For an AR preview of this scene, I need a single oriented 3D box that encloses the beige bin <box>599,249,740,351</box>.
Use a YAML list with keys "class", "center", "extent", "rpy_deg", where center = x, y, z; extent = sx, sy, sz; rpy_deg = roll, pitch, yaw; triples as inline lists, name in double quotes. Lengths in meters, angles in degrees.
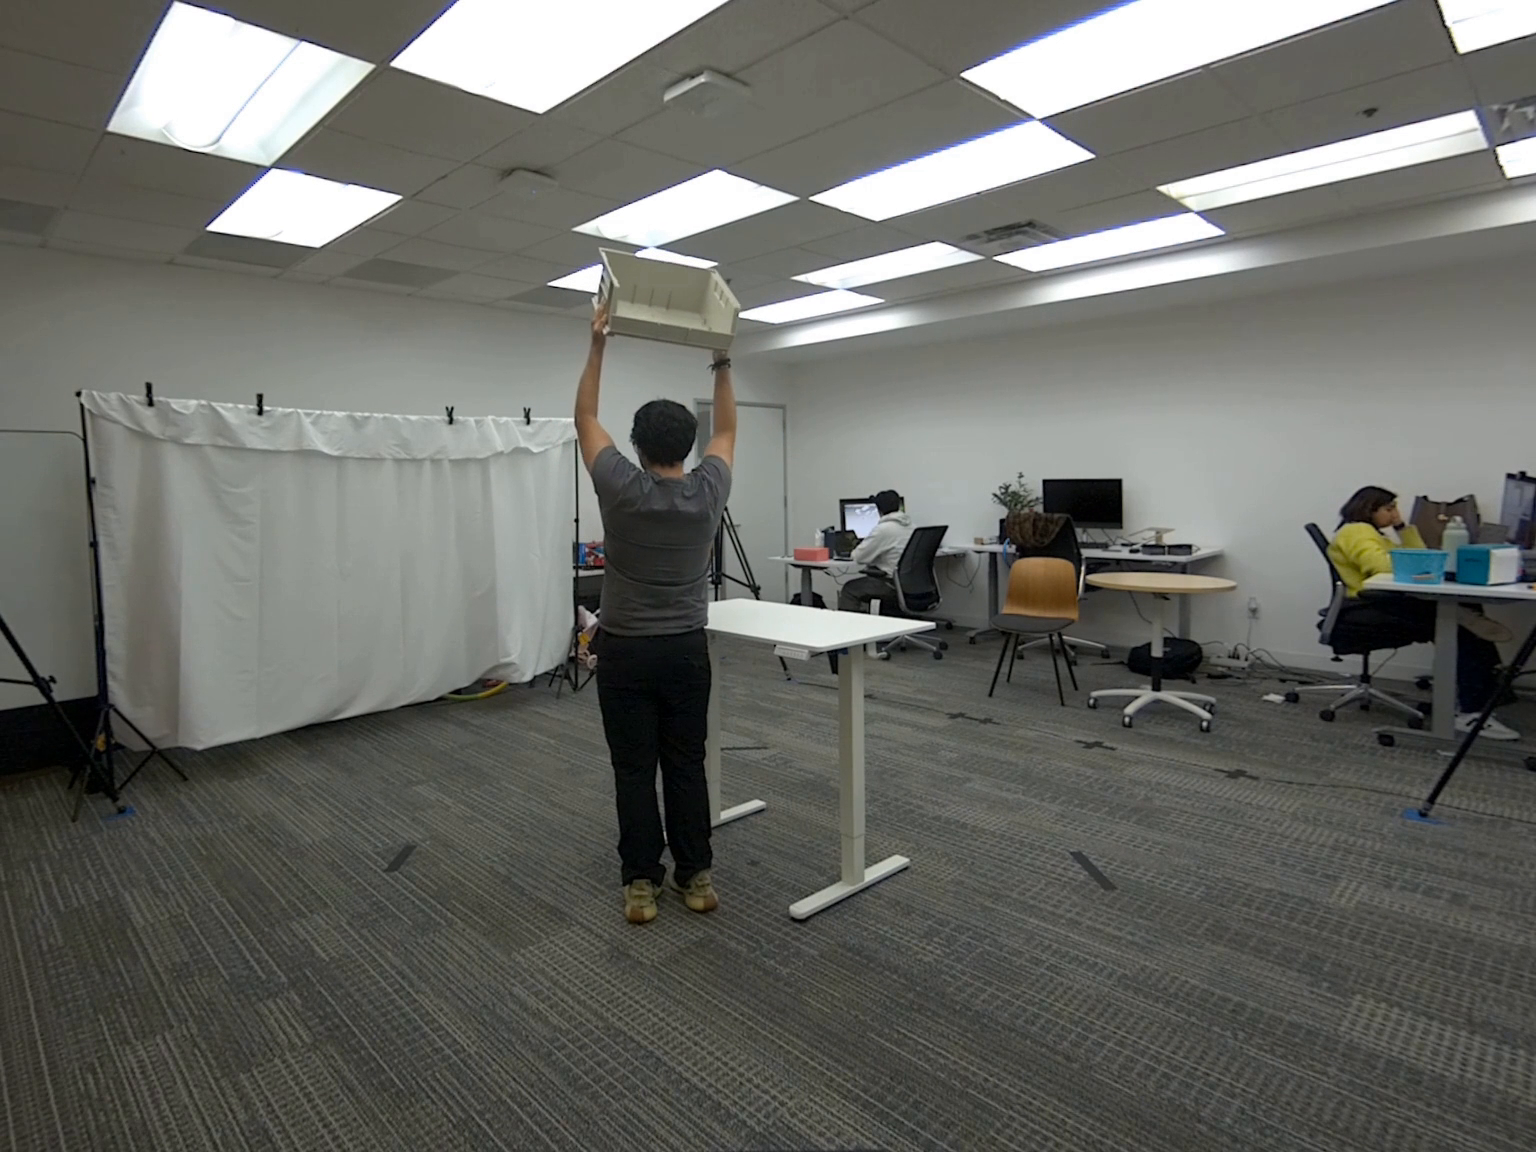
- class: "beige bin"
  center: [-0.348, -0.906, 2.858]
  extent: [0.414, 0.186, 0.391]
  rpy_deg: [3, 36, -22]
